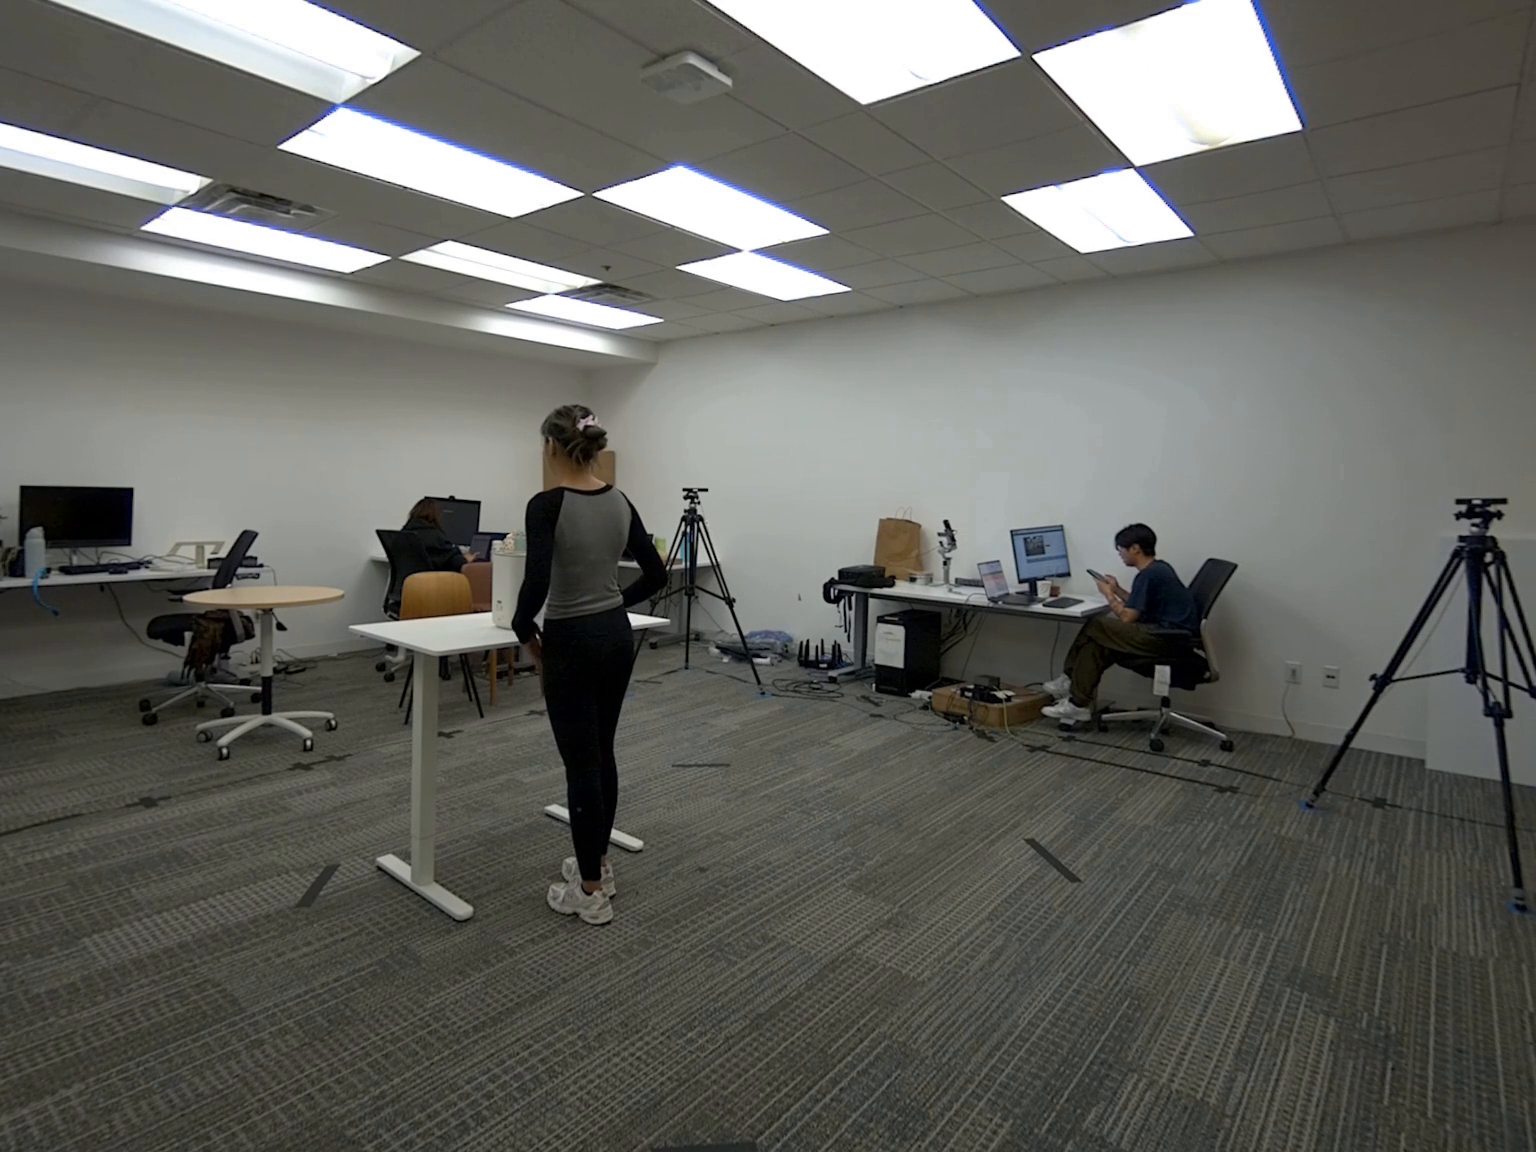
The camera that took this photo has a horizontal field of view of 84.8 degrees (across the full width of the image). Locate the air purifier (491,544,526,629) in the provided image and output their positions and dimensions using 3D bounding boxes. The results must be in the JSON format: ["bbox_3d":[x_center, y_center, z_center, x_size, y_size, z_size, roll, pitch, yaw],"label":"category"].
[{"bbox_3d":[-0.916,0.050,3.069,0.177,0.265,0.166,2,2,42],"label":"air purifier"}]
